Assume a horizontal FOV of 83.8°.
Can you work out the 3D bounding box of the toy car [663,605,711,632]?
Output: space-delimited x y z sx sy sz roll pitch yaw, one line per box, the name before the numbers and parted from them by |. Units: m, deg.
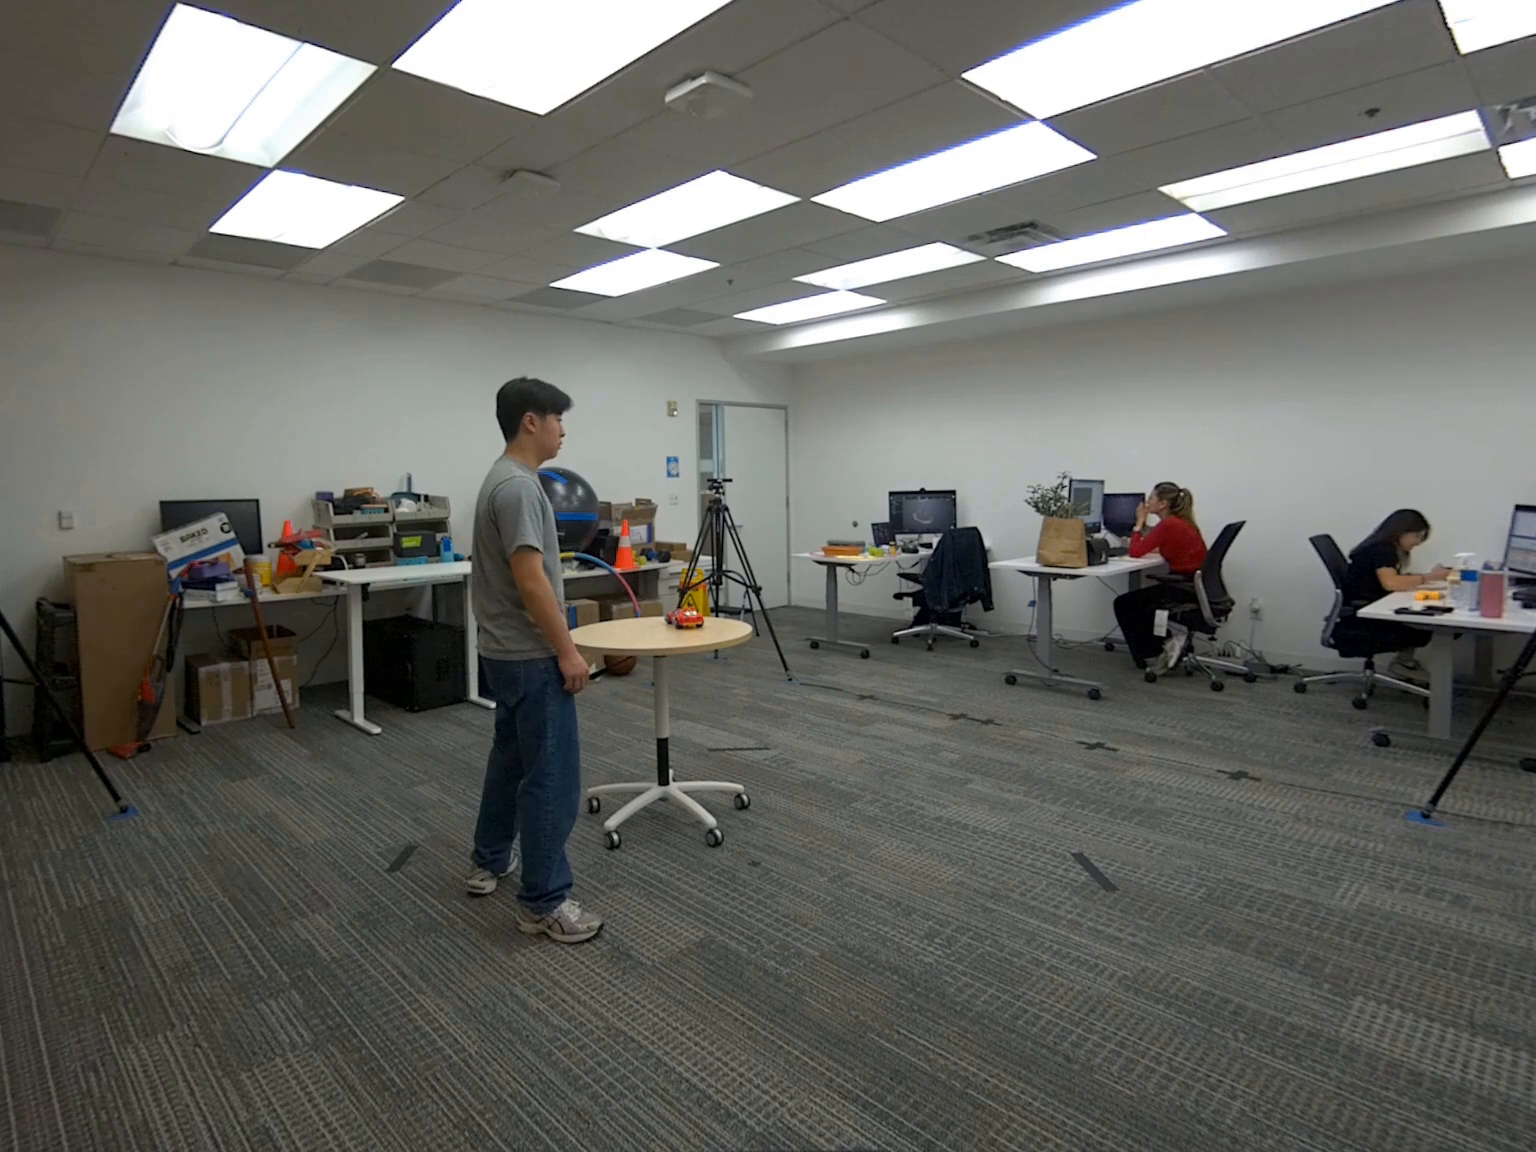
toy car | -0.346 0.179 3.606 0.128 0.084 0.257 -3 -5 -20
